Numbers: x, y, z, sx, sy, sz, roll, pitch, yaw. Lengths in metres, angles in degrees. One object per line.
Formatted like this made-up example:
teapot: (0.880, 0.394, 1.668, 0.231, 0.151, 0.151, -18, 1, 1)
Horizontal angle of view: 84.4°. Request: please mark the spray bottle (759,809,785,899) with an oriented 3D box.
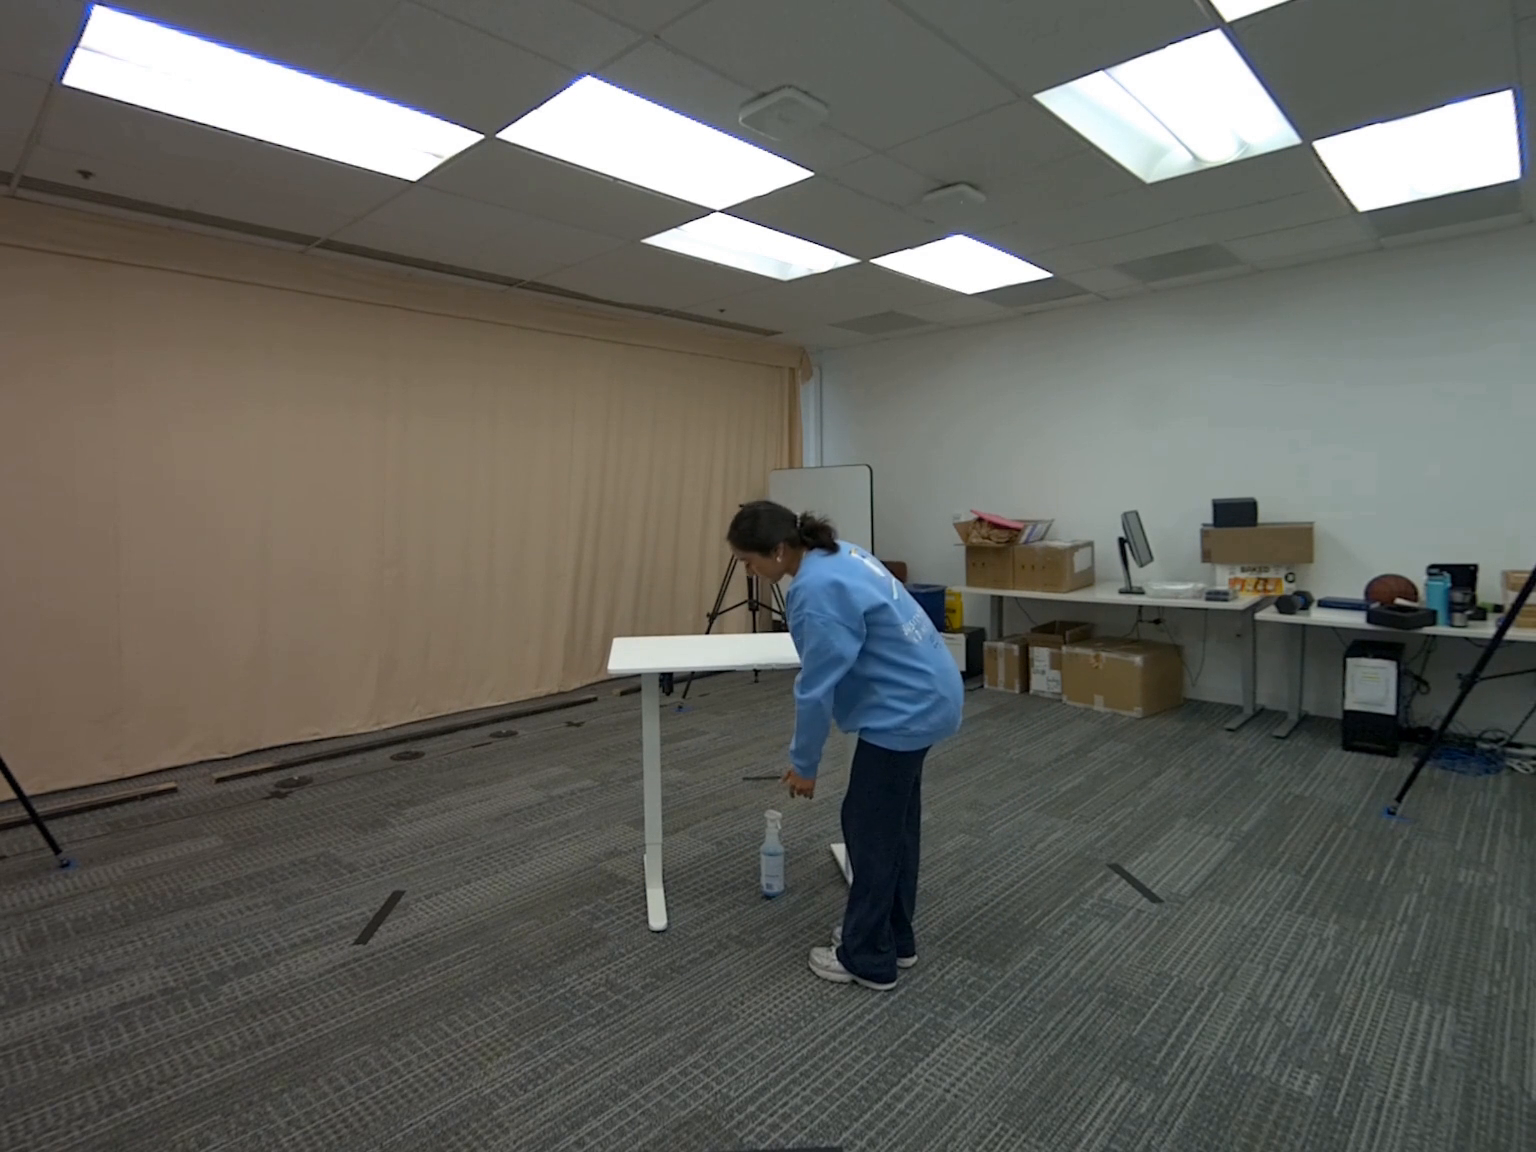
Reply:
spray bottle: (0.018, 0.990, 3.019, 0.086, 0.297, 0.091, 1, 2, -10)
